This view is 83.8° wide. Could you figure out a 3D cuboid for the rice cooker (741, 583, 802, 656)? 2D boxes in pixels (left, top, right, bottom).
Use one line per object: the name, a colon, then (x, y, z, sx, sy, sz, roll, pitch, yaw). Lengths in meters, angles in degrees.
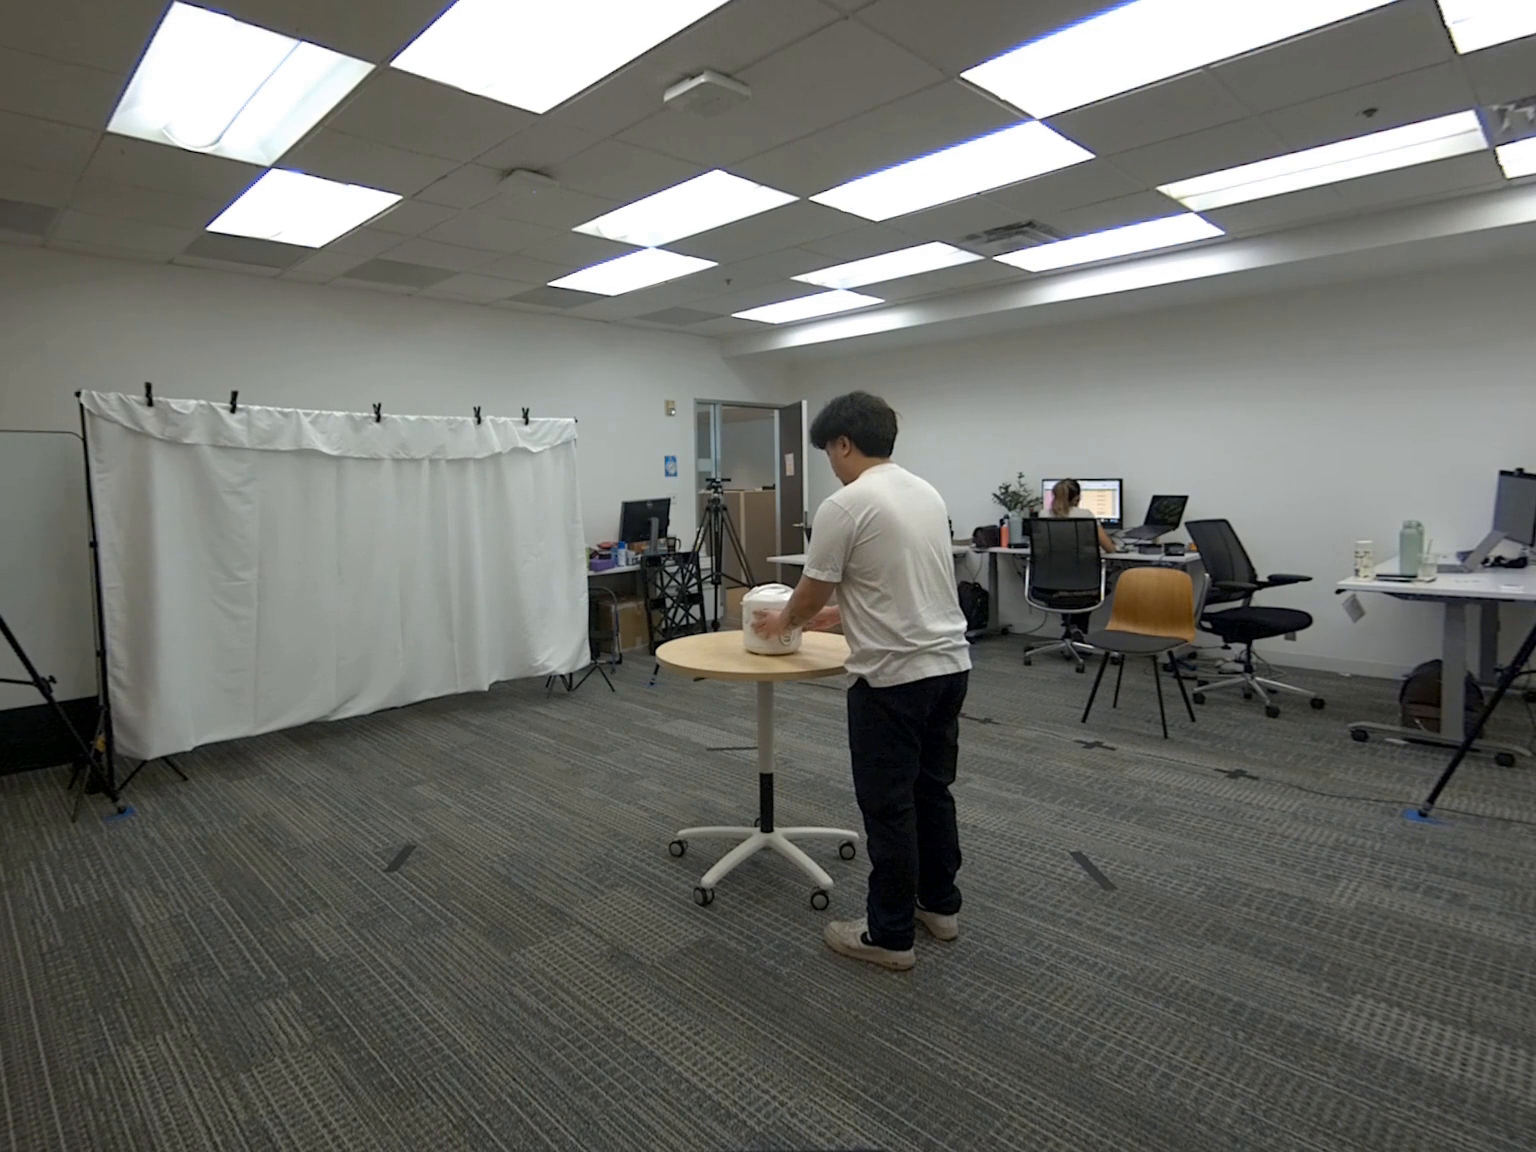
rice cooker: (0.018, 0.145, 2.958, 0.216, 0.232, 0.223, -4, 4, -25)
